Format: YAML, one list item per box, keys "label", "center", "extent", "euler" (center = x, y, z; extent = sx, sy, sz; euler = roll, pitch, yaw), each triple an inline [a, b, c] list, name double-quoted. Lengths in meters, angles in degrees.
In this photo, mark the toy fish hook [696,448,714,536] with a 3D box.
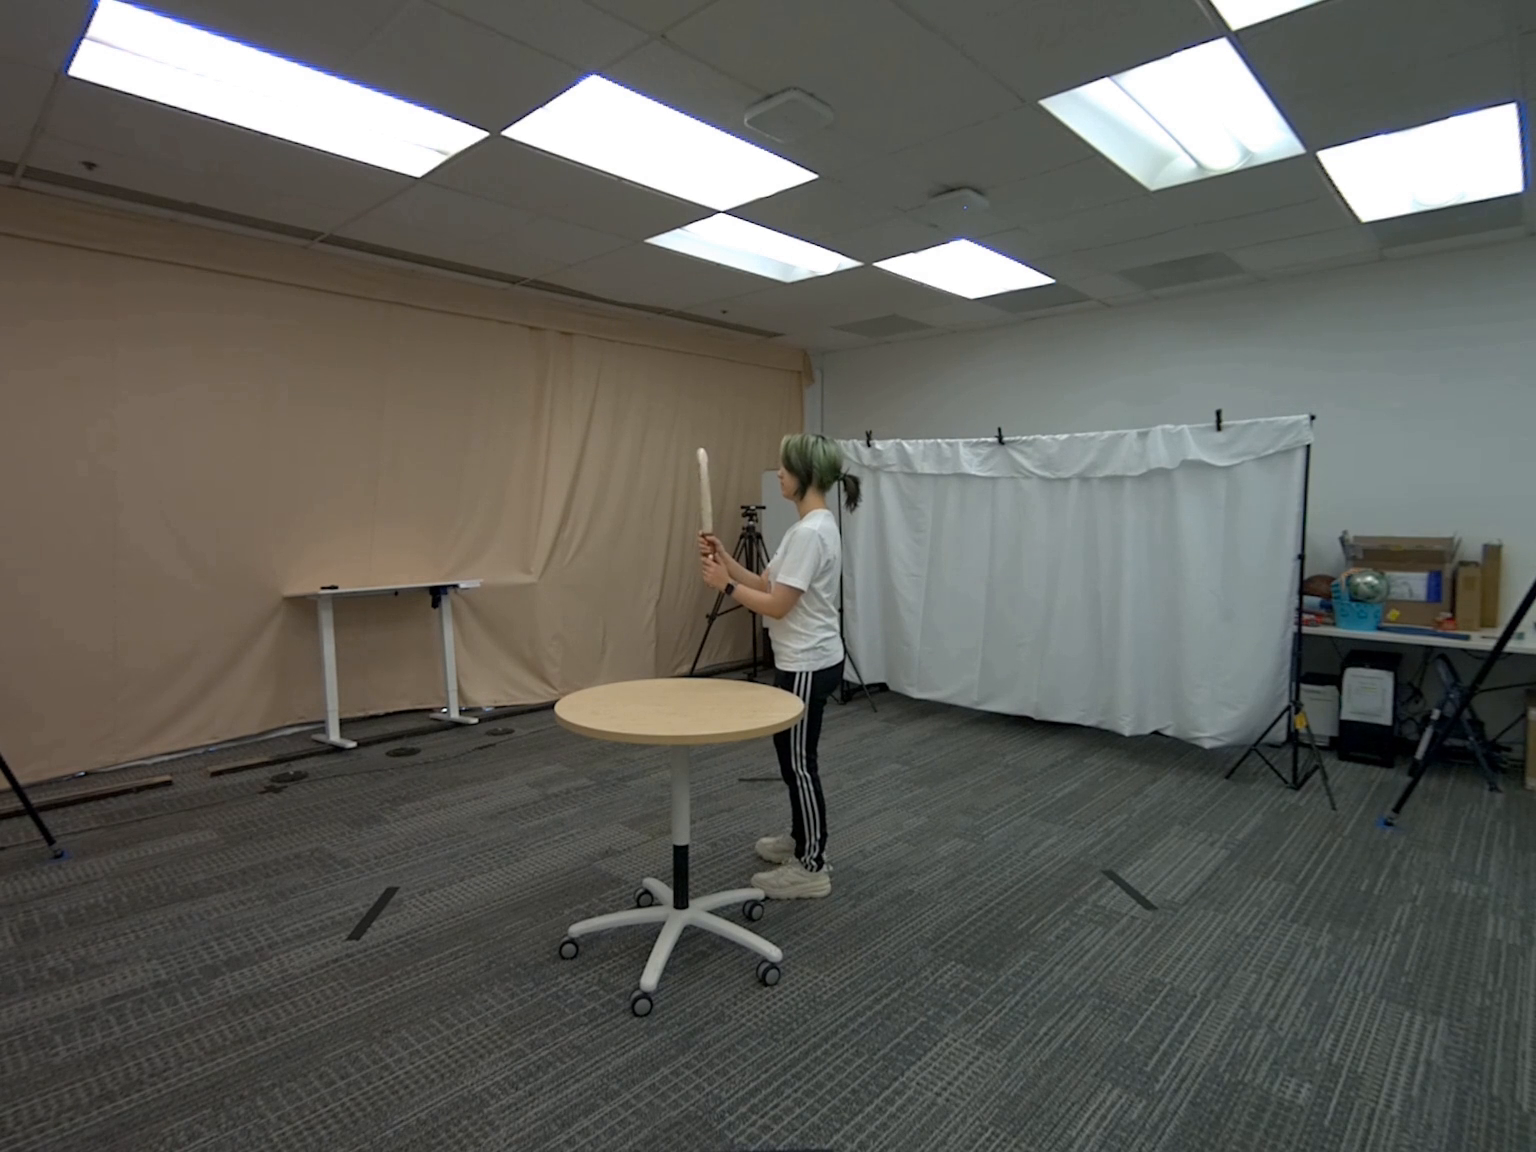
- label: "toy fish hook"
  center: [-0.221, -0.210, 3.080]
  extent: [0.048, 0.505, 0.225]
  euler: [-6, 3, -2]
